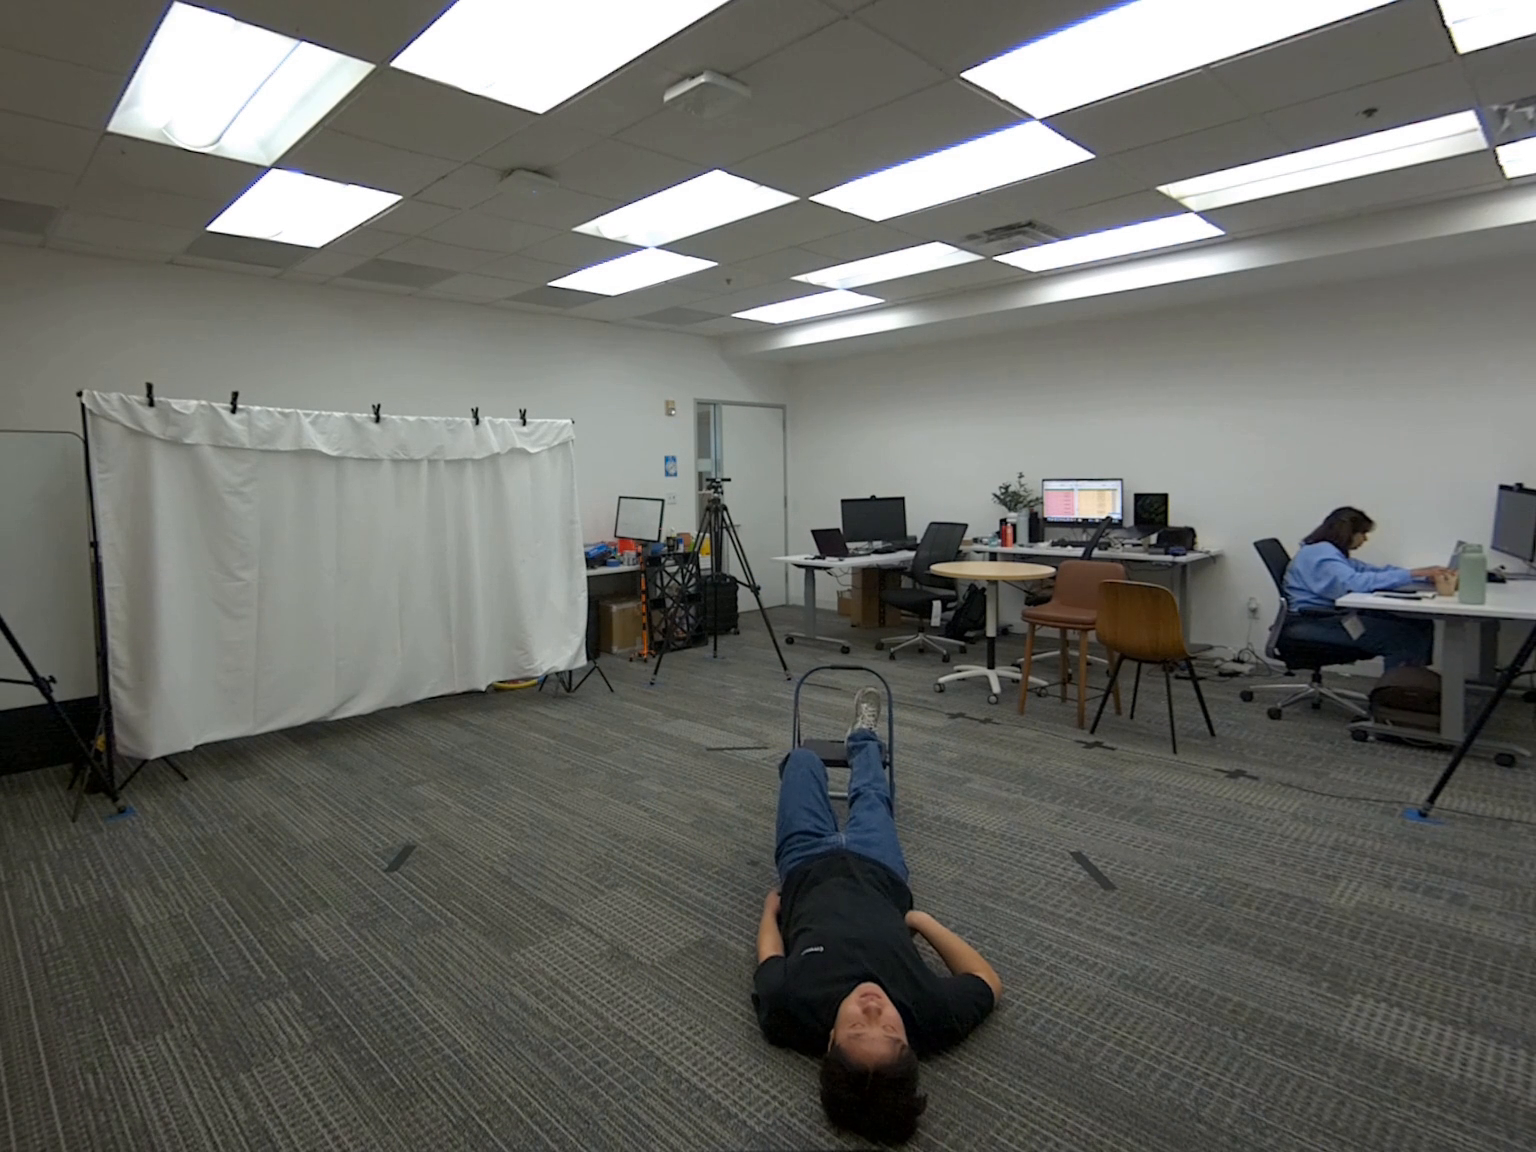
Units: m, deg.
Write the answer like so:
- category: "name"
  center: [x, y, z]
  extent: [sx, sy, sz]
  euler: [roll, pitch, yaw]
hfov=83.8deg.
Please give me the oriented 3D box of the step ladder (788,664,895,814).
- category: "step ladder"
  center: [0.313, 0.687, 3.541]
  extent: [0.435, 0.604, 0.347]
  euler: [0, 4, 9]
